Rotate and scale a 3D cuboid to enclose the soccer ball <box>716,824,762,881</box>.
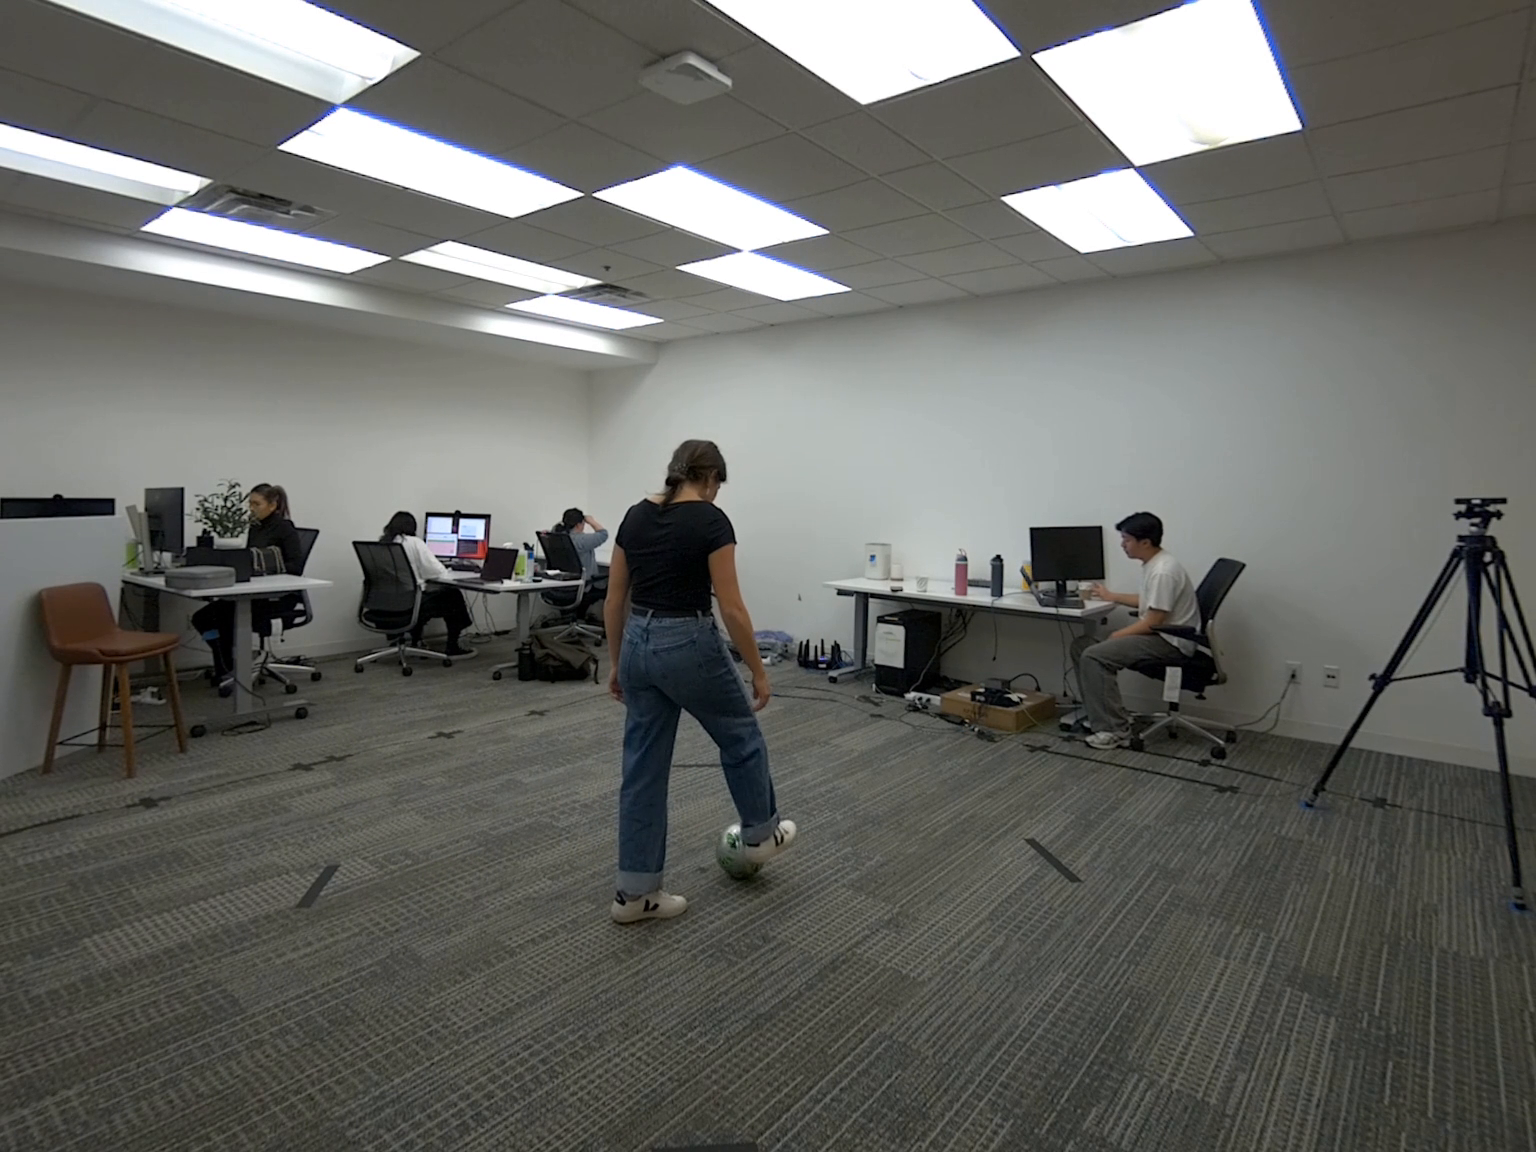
[{"bbox_3d":[-0.095,0.976,3.063,0.187,0.187,0.188,1,4,-2],"label":"soccer ball"}]
